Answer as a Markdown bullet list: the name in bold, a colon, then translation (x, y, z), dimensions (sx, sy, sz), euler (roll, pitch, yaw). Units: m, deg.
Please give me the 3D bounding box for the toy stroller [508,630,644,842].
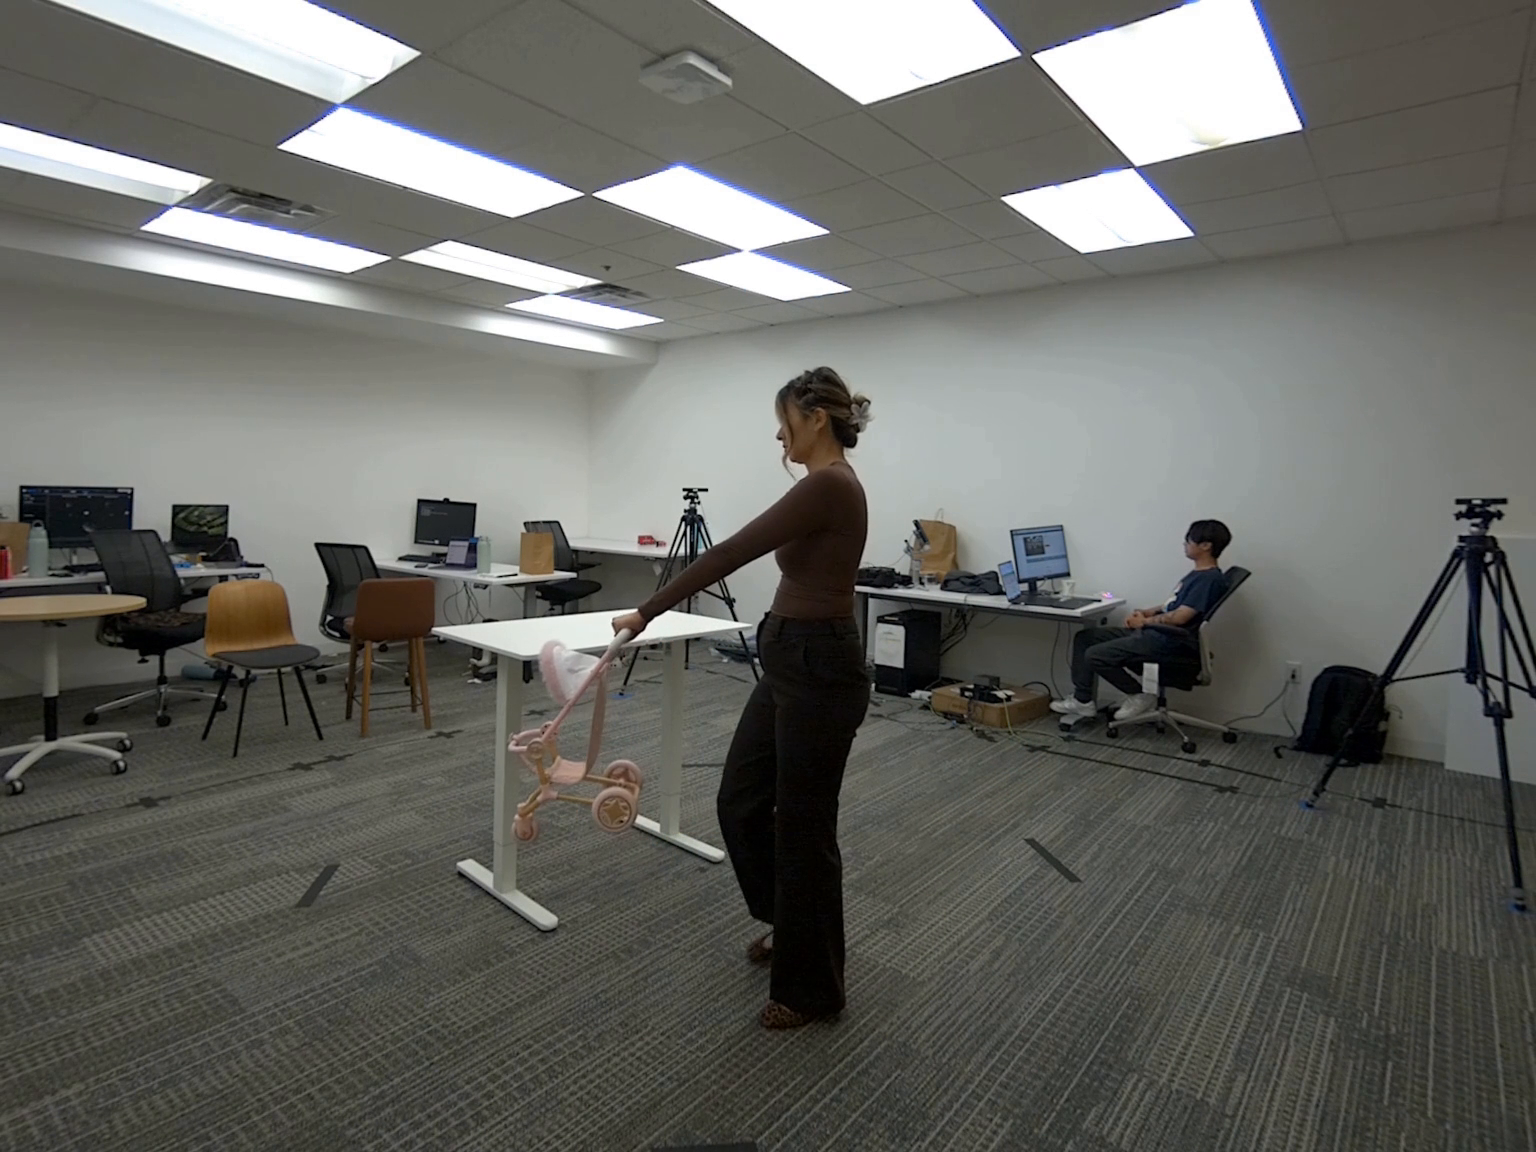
- **toy stroller**: translation (-0.508, 0.401, 2.152), dimensions (0.342, 0.535, 0.281), euler (-4, 0, 1)
